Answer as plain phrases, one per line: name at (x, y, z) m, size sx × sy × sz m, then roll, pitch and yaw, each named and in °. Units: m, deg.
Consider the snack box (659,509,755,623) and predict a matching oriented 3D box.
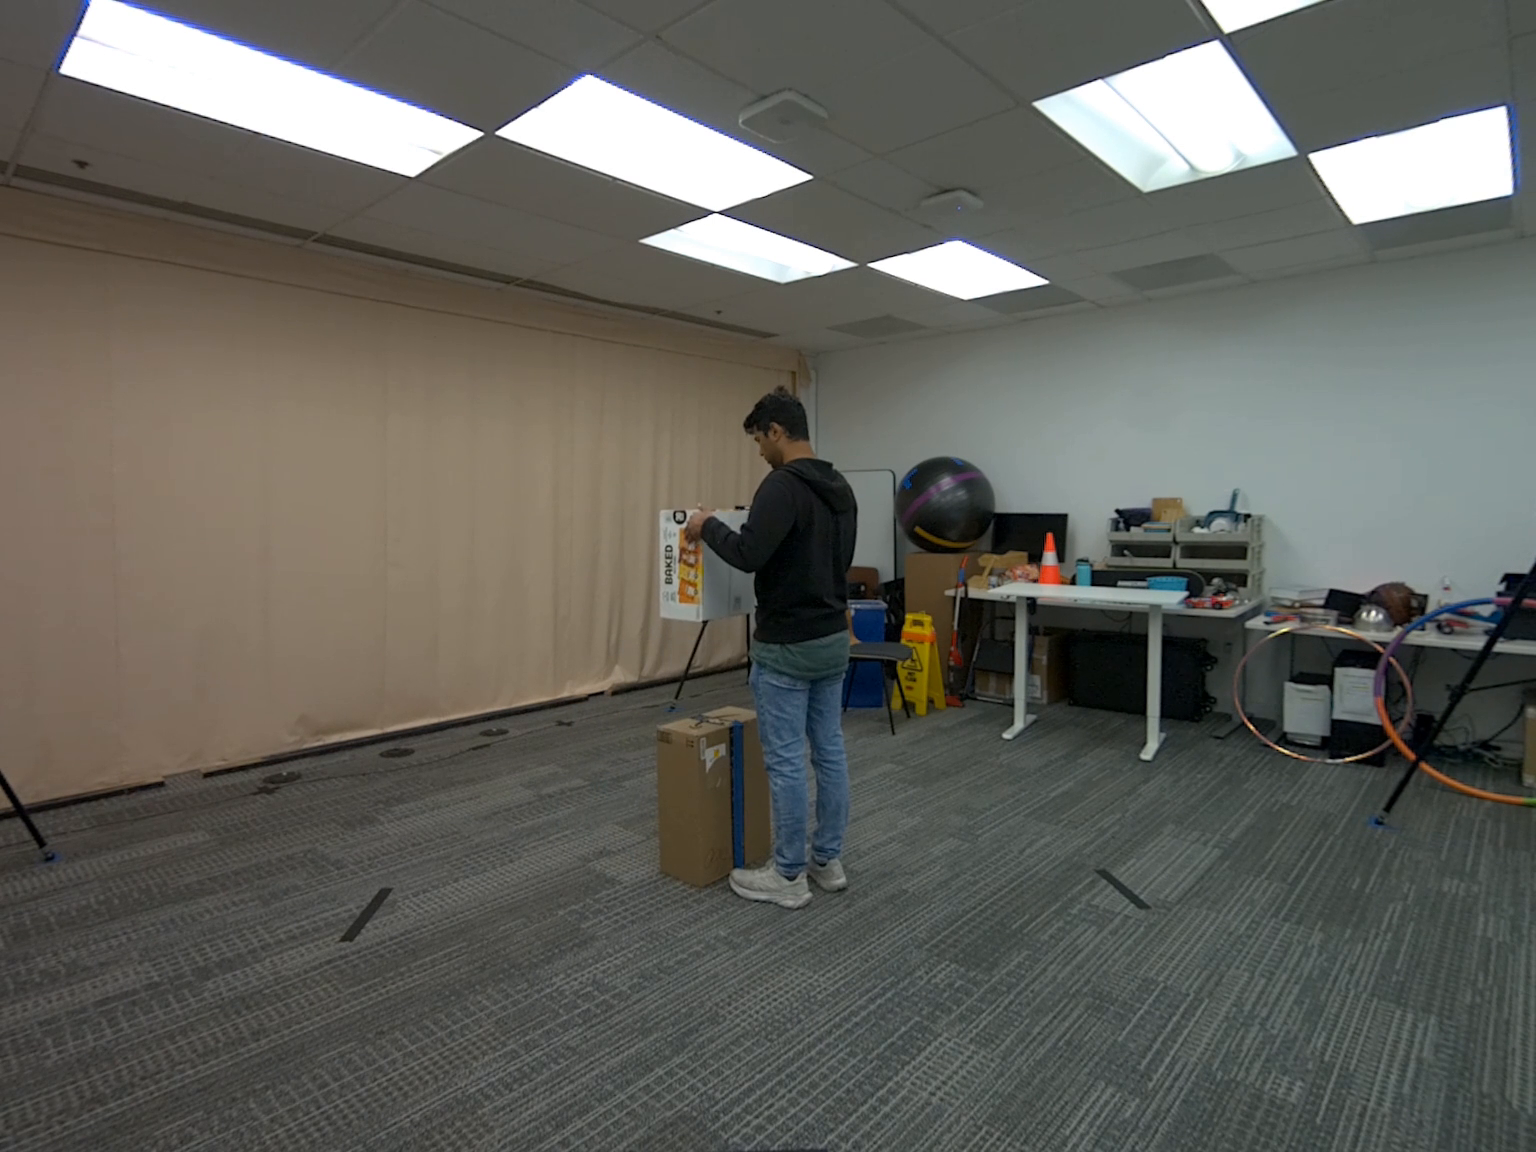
snack box at (-0.217, -0.043, 3.226) m, size 0.212 × 0.405 × 0.330 m, roll 1°, pitch 3°, yaw 37°
